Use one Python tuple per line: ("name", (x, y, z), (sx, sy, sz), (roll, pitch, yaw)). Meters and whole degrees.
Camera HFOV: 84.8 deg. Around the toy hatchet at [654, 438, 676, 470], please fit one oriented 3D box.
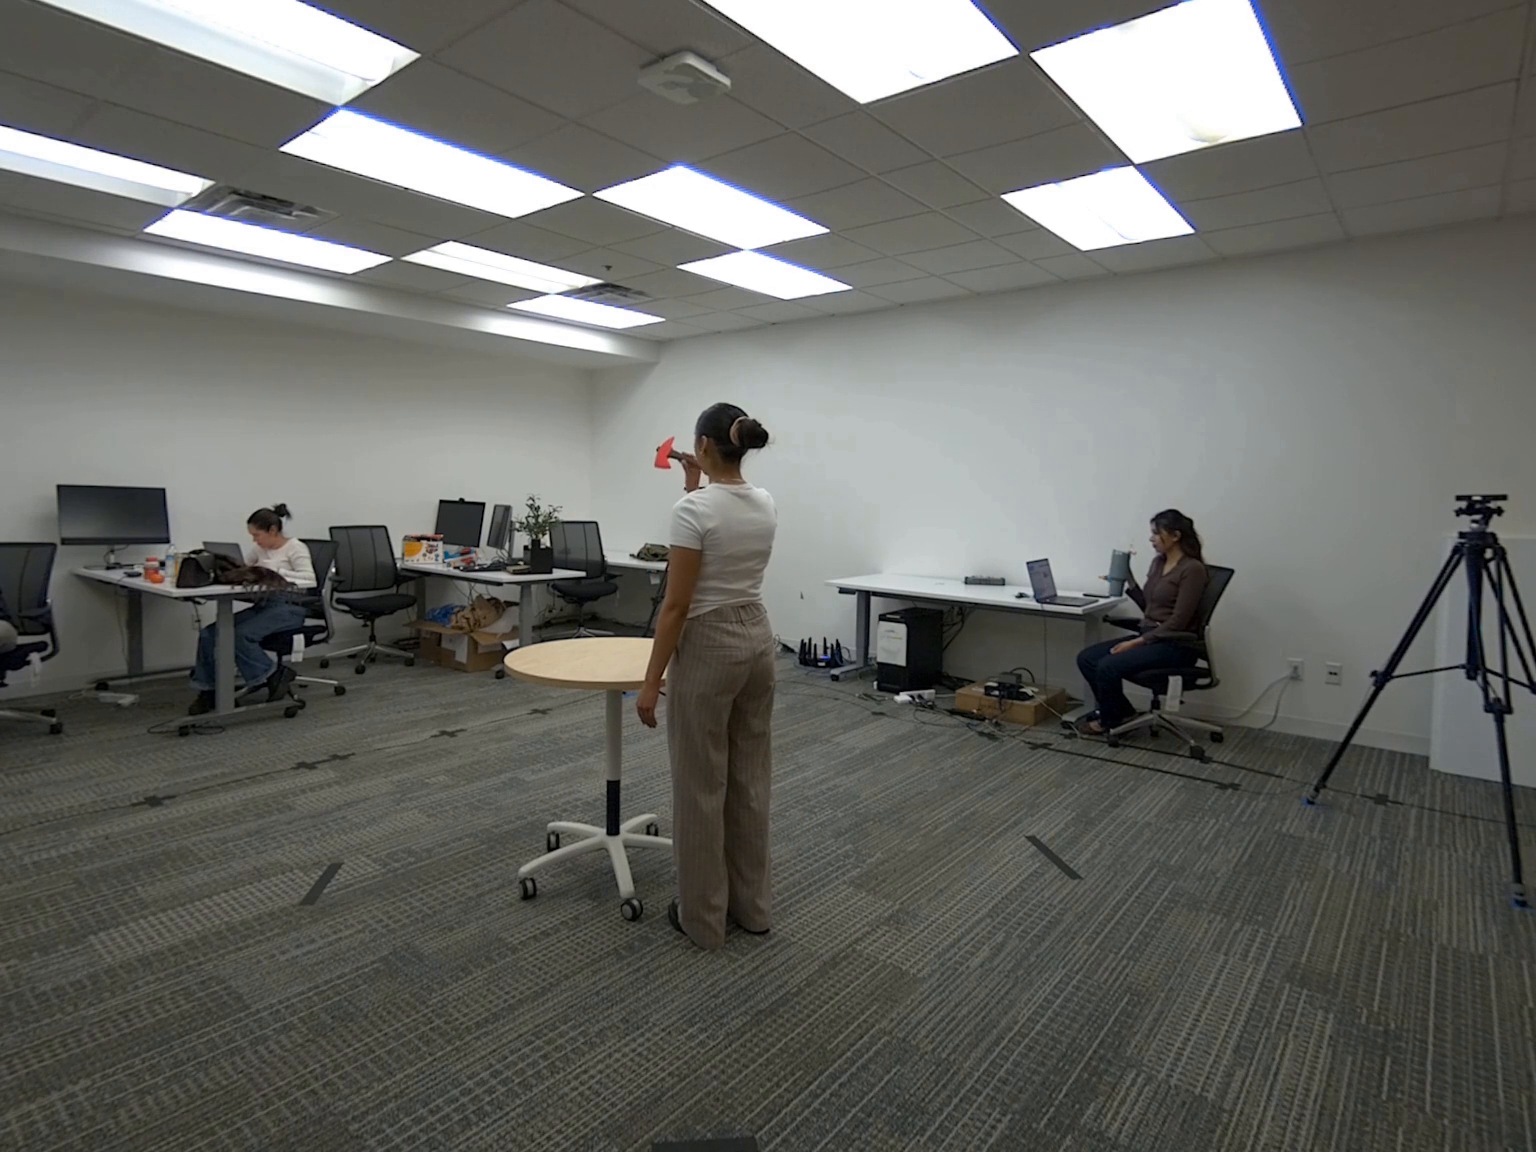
("toy hatchet", (-0.304, -0.373, 2.960), (0.279, 0.131, 0.028), (41, -13, 25))
